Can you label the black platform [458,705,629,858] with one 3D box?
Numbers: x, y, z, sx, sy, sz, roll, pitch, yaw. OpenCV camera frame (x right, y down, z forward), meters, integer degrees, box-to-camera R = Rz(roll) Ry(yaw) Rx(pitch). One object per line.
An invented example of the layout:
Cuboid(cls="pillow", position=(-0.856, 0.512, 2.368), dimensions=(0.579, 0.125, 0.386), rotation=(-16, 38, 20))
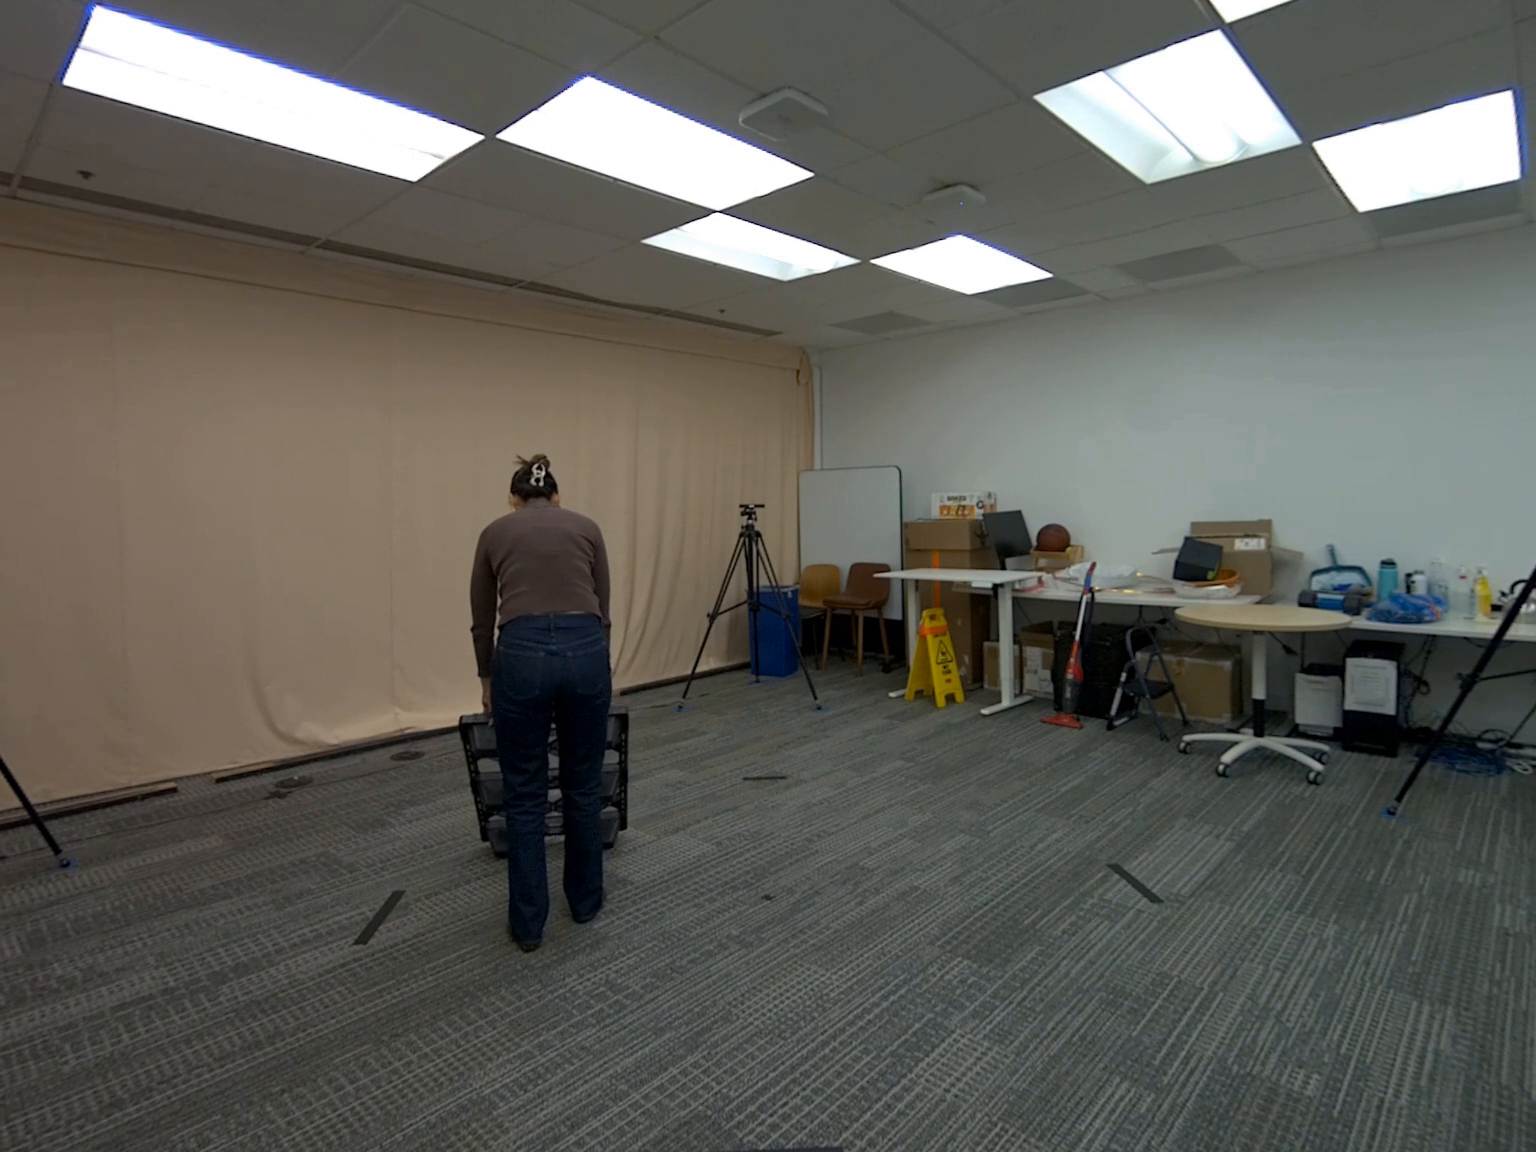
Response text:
Cuboid(cls="black platform", position=(-0.842, 0.810, 3.219), dimensions=(0.599, 0.793, 0.147), rotation=(-2, 42, -10))
